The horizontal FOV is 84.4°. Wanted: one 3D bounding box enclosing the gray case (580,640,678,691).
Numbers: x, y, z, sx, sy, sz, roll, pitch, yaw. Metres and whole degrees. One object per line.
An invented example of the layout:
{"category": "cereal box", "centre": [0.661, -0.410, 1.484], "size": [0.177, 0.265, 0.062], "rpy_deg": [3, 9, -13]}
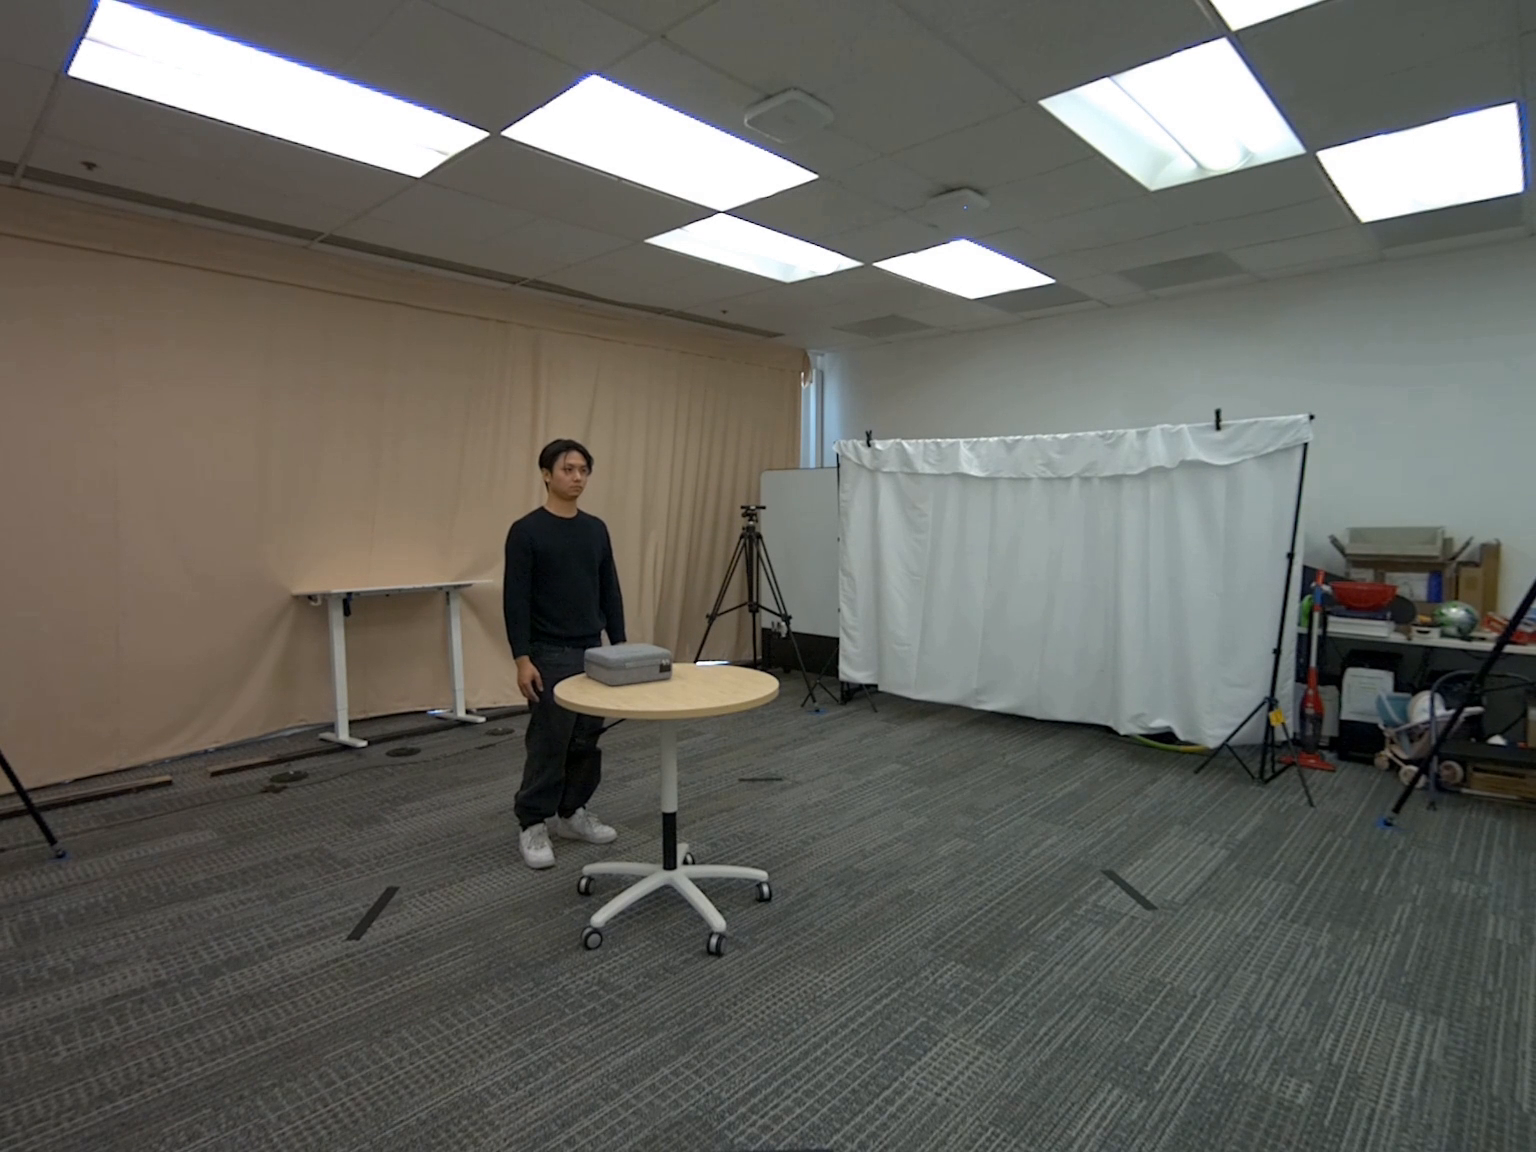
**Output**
{"category": "gray case", "centre": [-0.498, 0.311, 2.995], "size": [0.250, 0.104, 0.268], "rpy_deg": [-6, 6, -33]}
